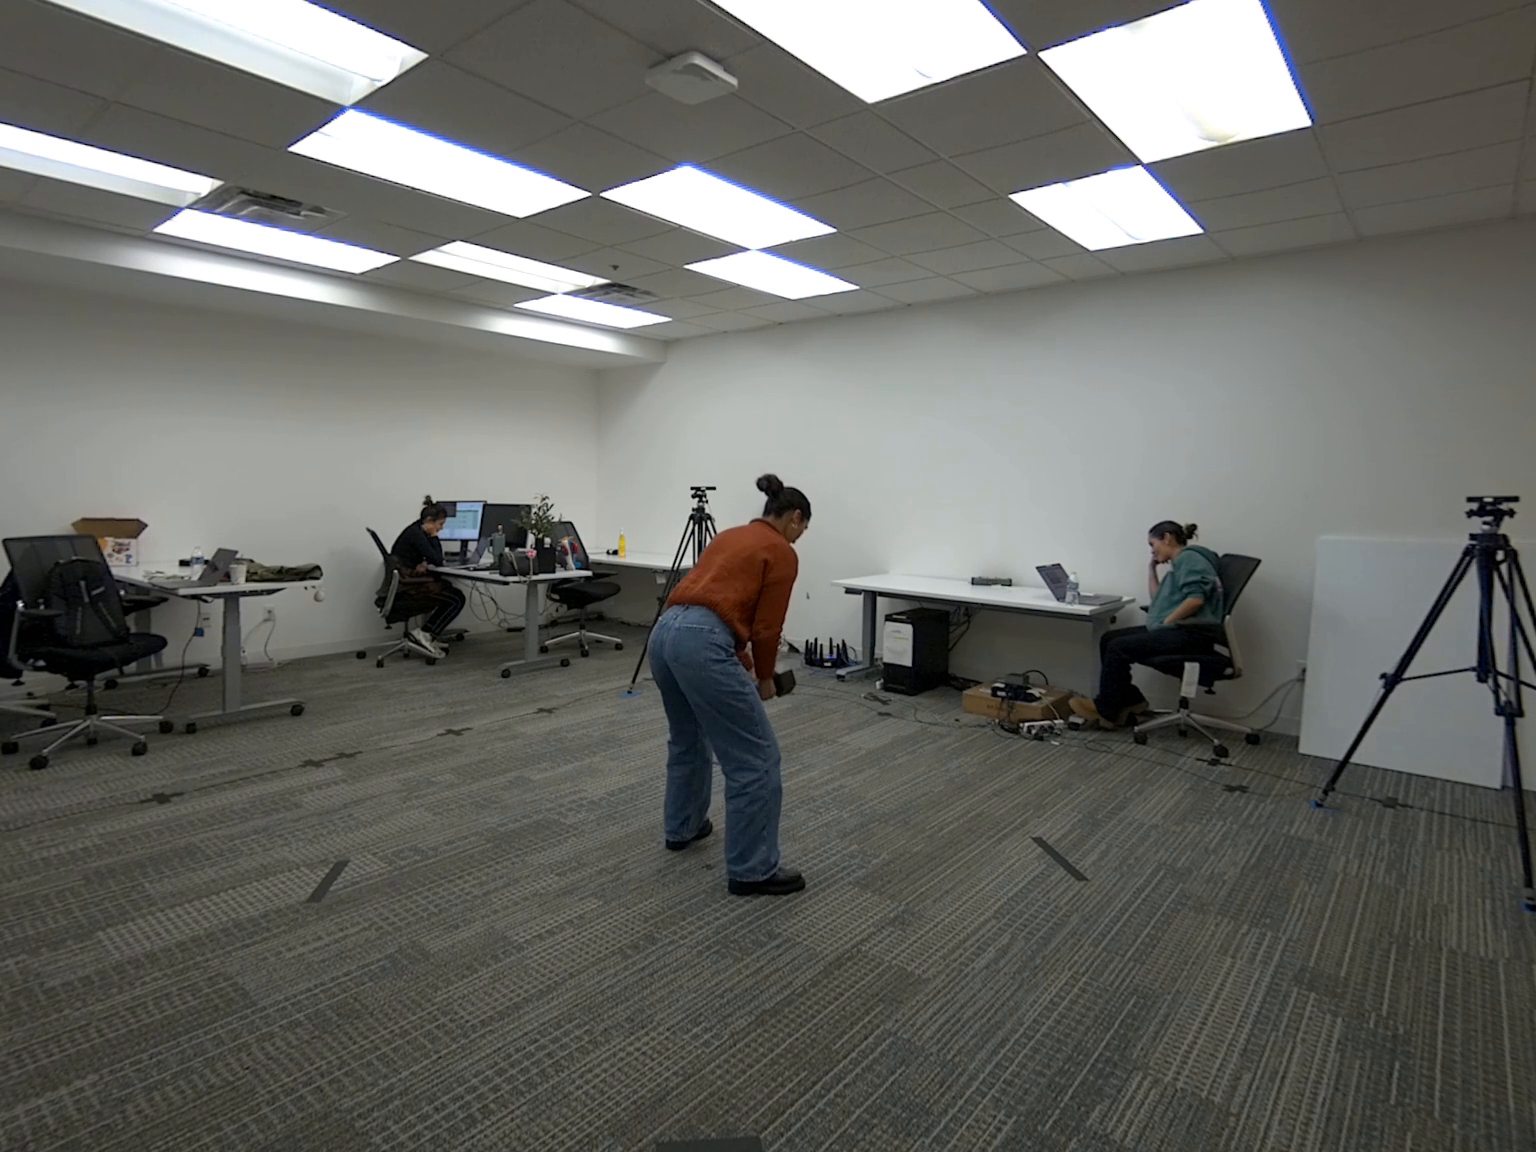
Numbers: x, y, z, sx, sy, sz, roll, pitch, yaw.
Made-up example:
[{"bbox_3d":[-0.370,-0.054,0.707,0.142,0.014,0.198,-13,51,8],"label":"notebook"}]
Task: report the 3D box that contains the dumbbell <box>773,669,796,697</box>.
[{"bbox_3d":[-0.038,0.431,3.234,0.288,0.112,0.121,-17,-32,-31],"label":"dumbbell"}]
